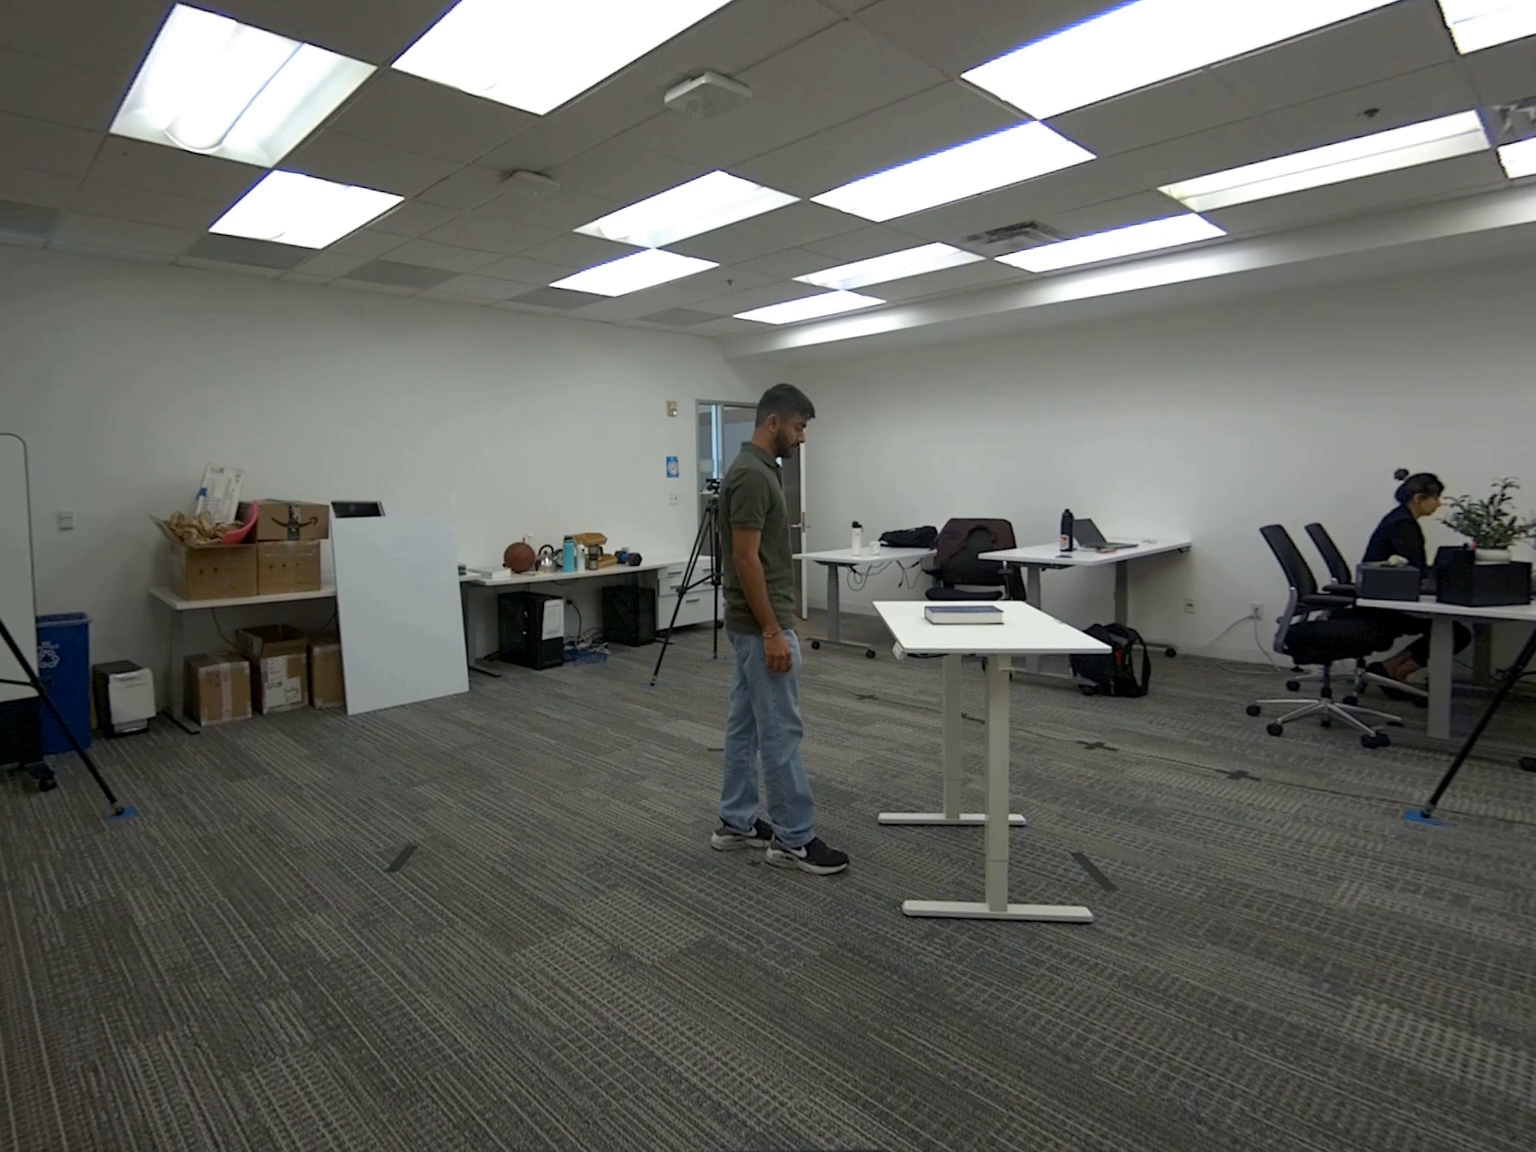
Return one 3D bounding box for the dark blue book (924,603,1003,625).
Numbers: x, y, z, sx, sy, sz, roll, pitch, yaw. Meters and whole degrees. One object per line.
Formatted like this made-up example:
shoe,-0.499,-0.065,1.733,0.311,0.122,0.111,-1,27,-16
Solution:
dark blue book,0.688,0.134,3.028,0.246,0.045,0.164,0,6,2
